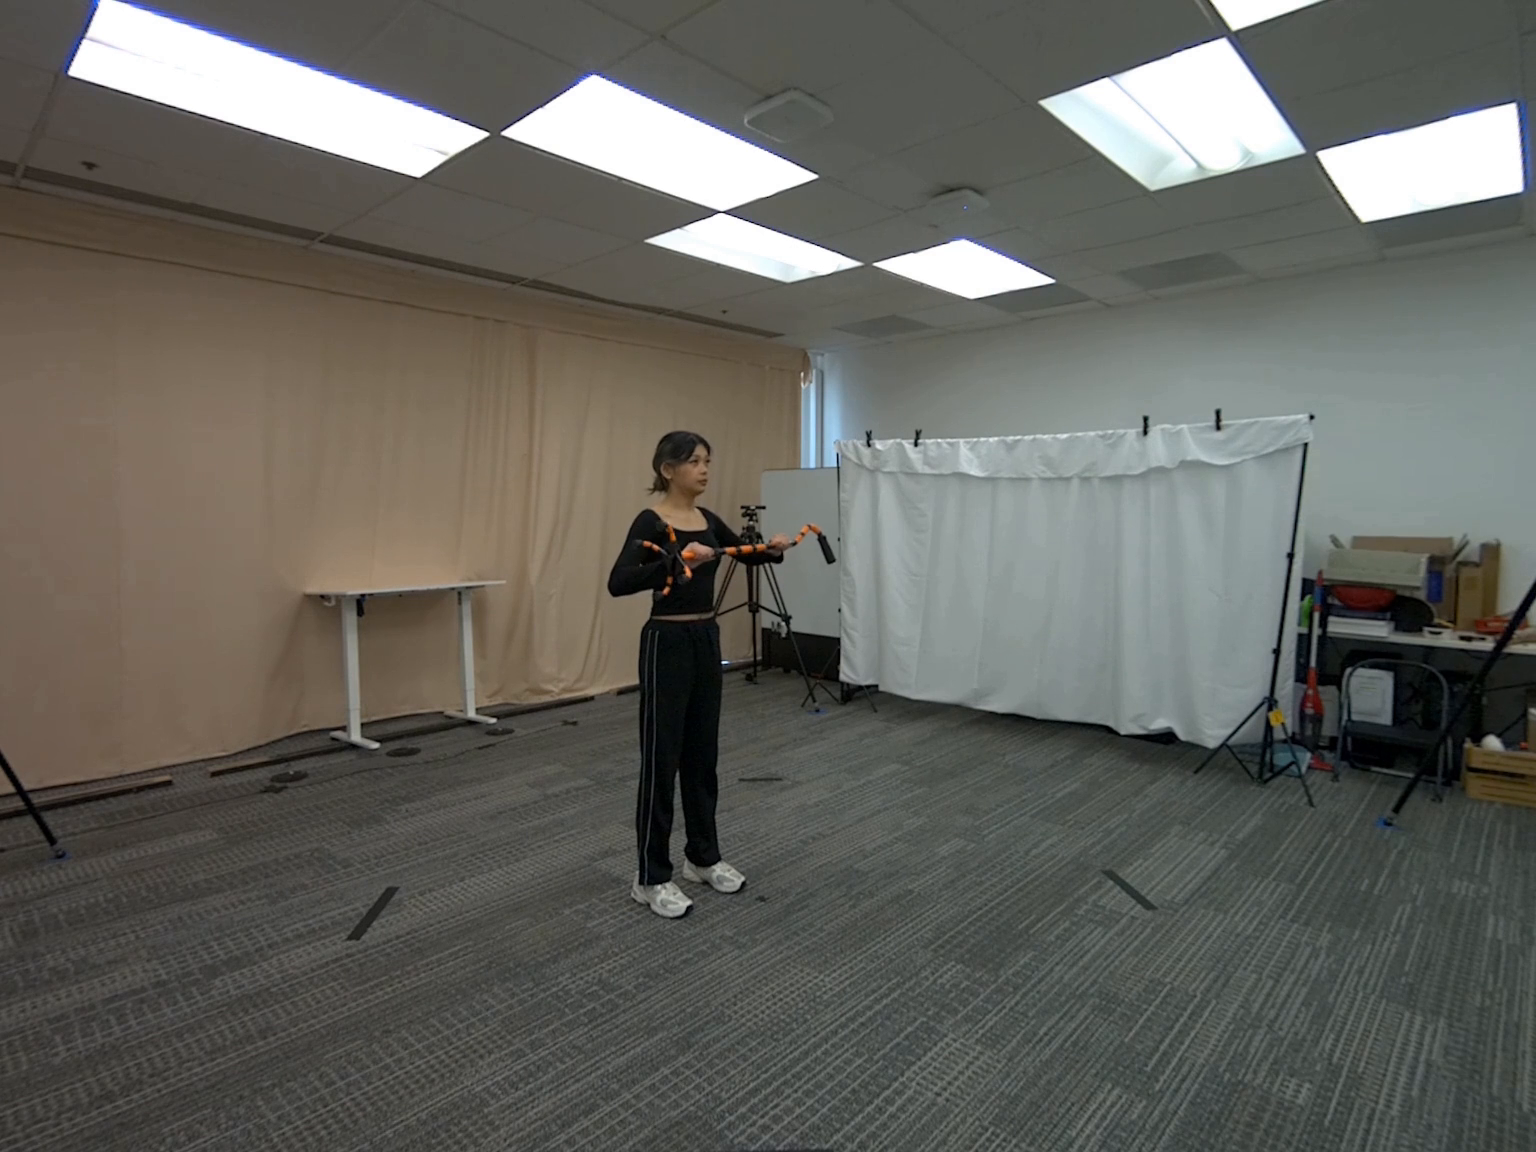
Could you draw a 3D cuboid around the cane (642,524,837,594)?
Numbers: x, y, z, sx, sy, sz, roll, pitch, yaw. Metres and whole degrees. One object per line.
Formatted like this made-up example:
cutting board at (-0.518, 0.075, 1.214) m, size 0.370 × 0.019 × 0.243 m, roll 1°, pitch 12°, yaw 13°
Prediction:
cane at (-0.048, -0.089, 2.875) m, size 0.154 × 0.209 × 0.882 m, roll -30°, pitch -13°, yaw 37°
